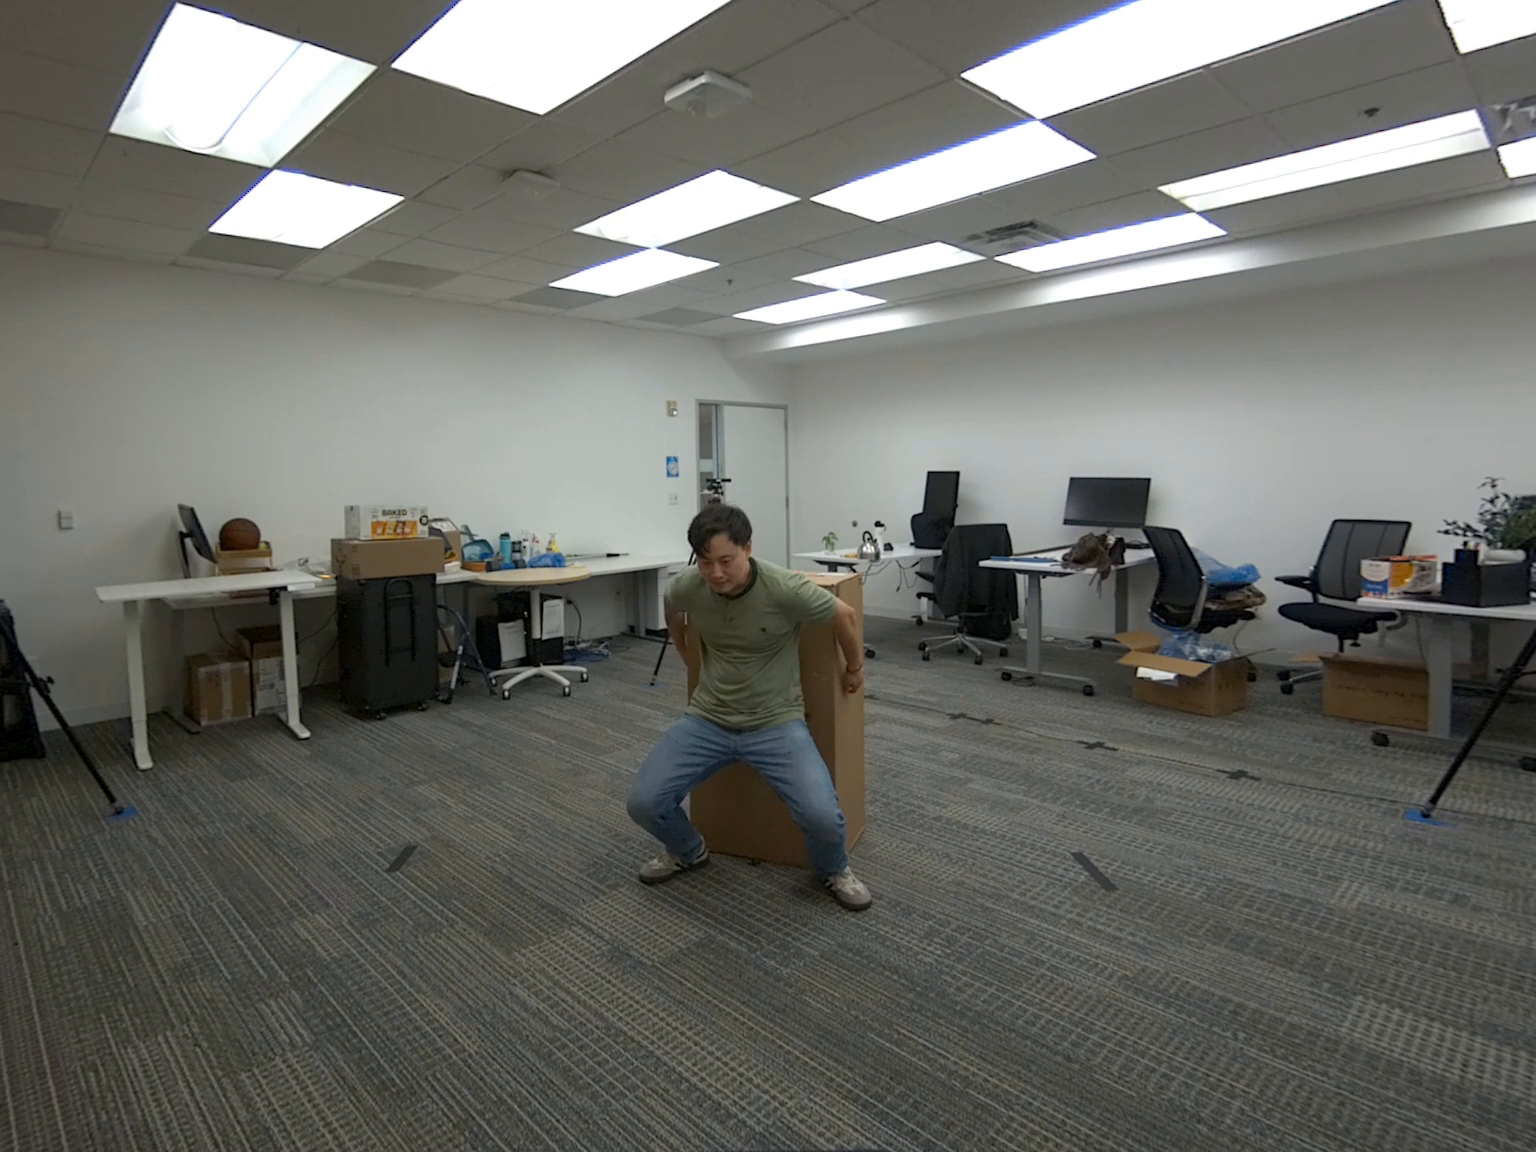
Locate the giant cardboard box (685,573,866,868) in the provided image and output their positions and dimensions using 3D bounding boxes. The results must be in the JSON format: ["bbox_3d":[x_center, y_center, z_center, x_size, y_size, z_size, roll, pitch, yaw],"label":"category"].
[{"bbox_3d":[0.043,0.506,3.299,0.590,1.023,0.418,1,4,23],"label":"giant cardboard box"}]
